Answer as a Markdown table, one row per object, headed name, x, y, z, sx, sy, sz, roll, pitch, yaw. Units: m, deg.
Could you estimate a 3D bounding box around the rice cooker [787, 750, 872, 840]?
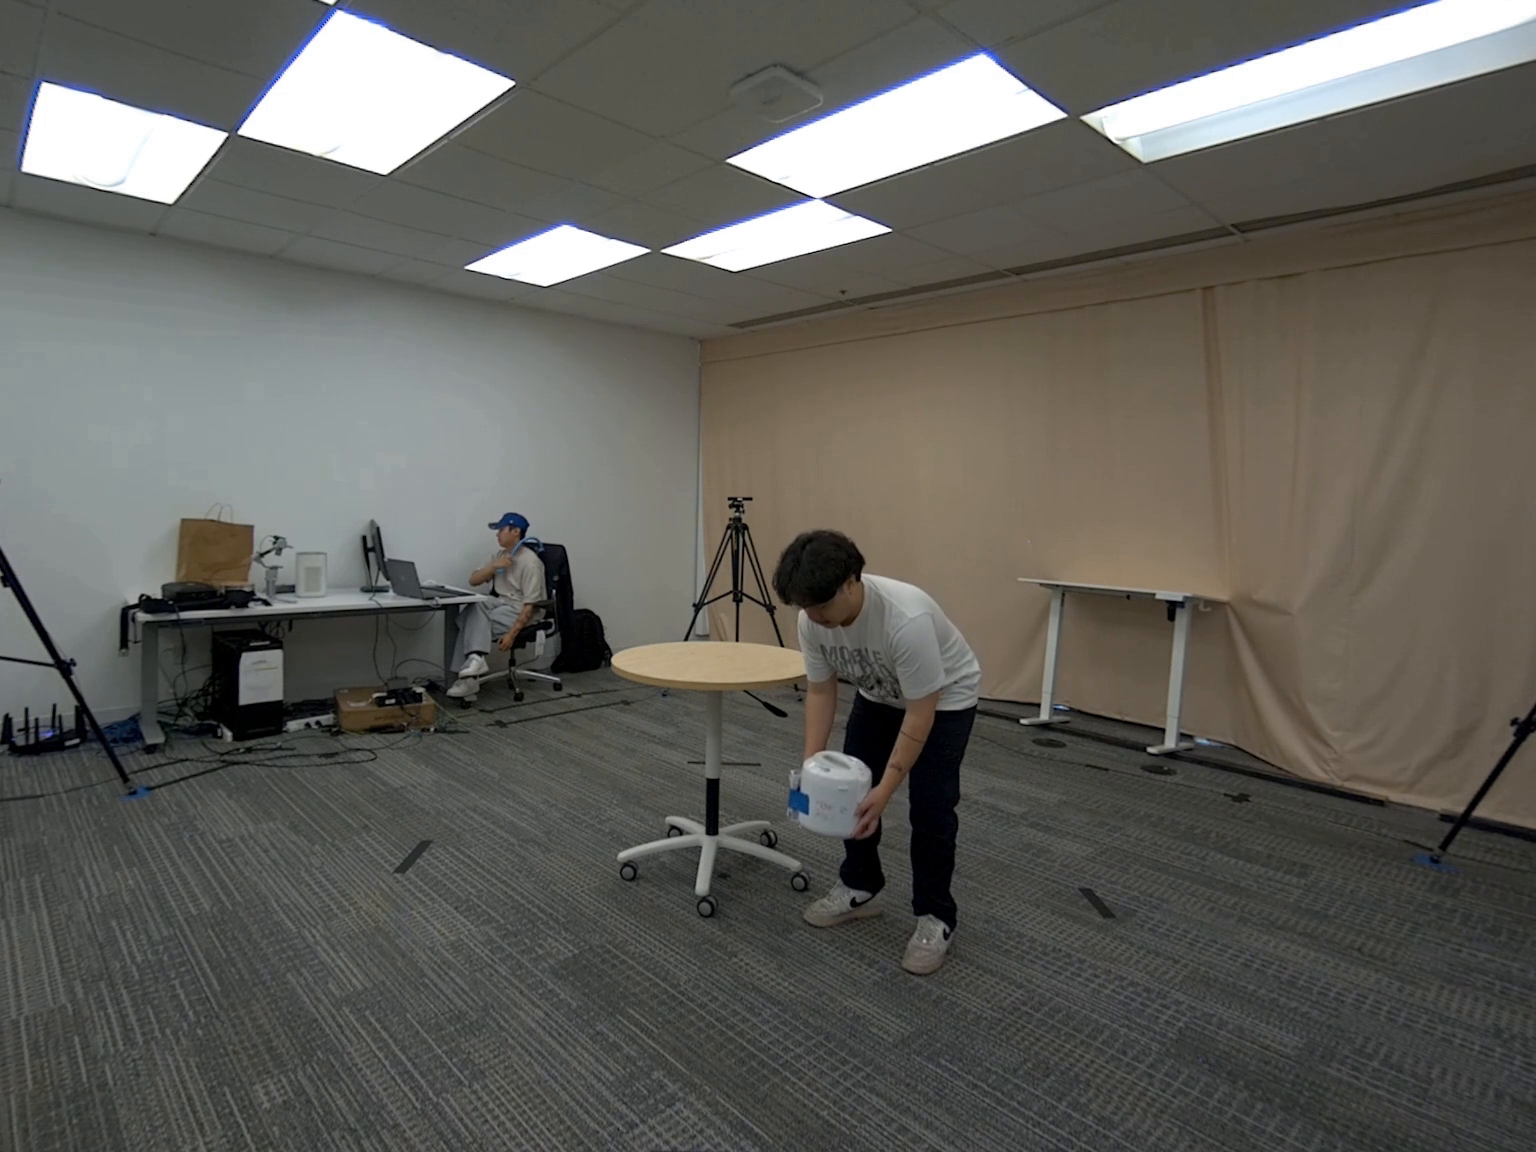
| name | x | y | z | sx | sy | sz | roll | pitch | yaw |
| --- | --- | --- | --- | --- | --- | --- | --- | --- | --- |
| rice cooker | 0.196 | 0.639 | 2.505 | 0.212 | 0.232 | 0.226 | 1 | 6 | -43 |
